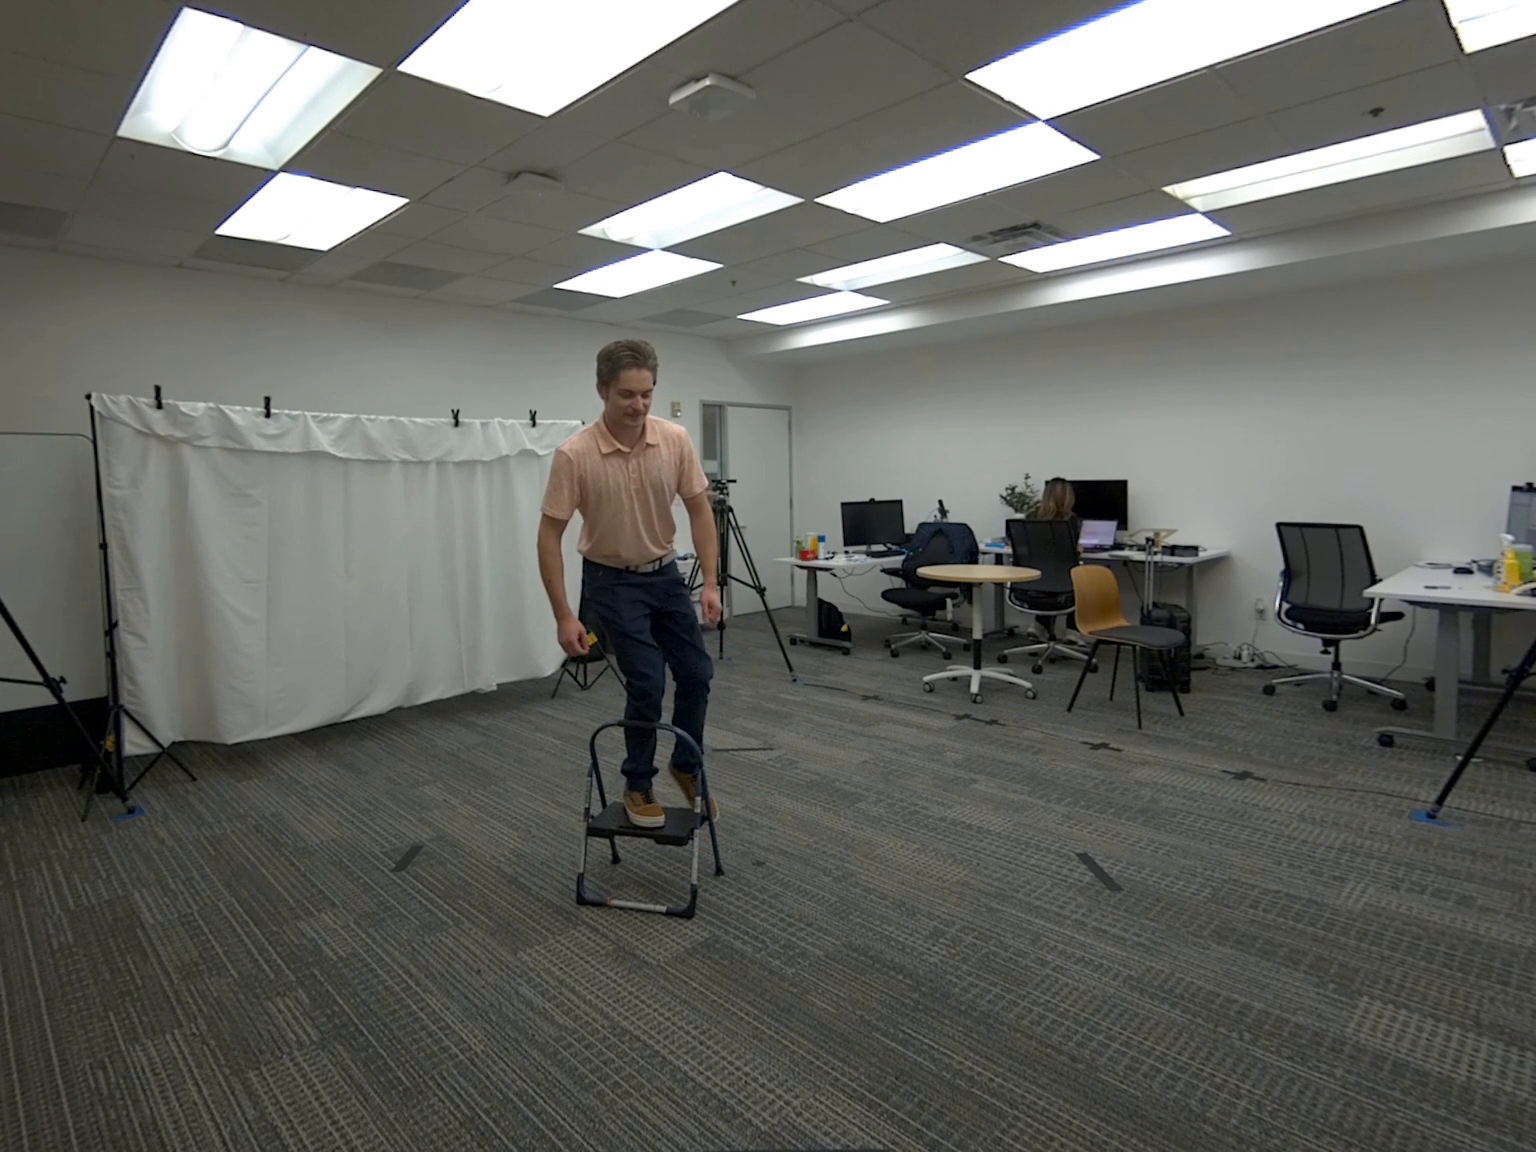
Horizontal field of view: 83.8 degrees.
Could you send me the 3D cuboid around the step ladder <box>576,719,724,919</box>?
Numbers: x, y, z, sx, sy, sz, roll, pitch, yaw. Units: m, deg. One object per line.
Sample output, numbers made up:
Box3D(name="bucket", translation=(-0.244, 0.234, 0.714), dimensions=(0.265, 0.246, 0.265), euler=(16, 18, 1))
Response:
Box3D(name="step ladder", translation=(-0.408, 0.776, 2.918), dimensions=(0.437, 0.603, 0.346), euler=(0, 5, 14))
